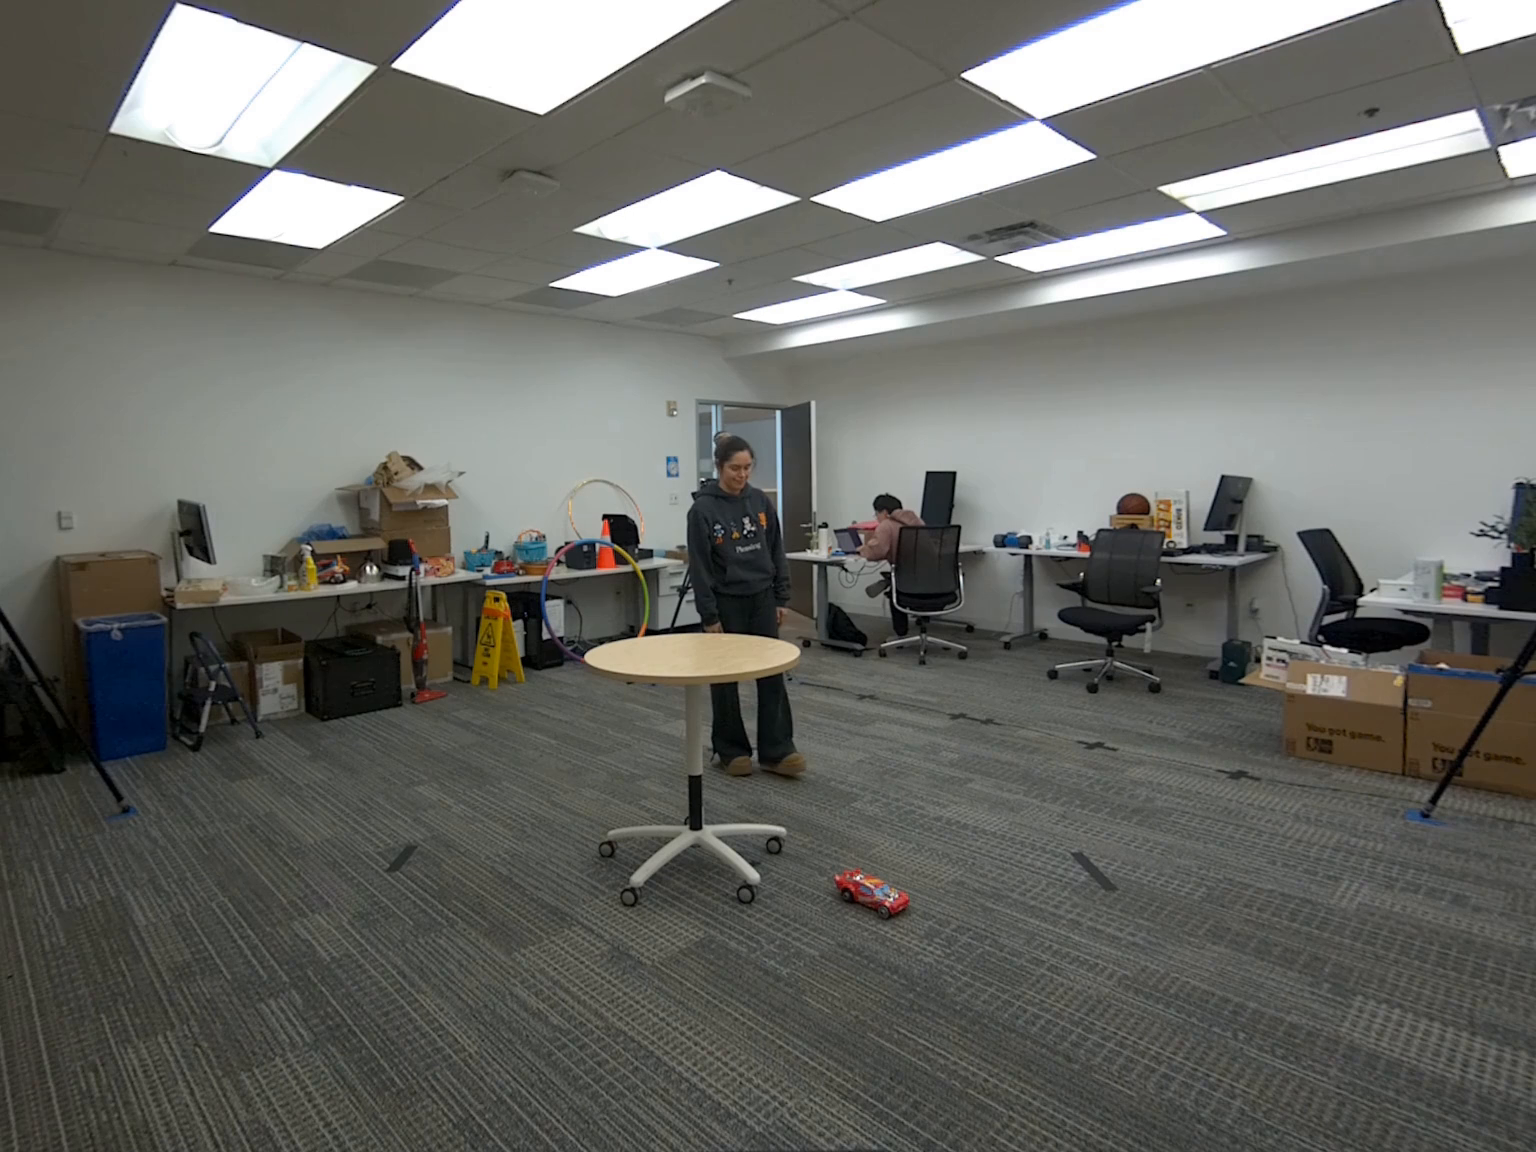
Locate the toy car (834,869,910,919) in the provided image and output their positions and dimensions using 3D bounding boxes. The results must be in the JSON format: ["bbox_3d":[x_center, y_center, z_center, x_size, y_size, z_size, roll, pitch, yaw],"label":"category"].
[{"bbox_3d":[0.343,1.046,2.787,0.127,0.082,0.264,-7,19,-43],"label":"toy car"}]
